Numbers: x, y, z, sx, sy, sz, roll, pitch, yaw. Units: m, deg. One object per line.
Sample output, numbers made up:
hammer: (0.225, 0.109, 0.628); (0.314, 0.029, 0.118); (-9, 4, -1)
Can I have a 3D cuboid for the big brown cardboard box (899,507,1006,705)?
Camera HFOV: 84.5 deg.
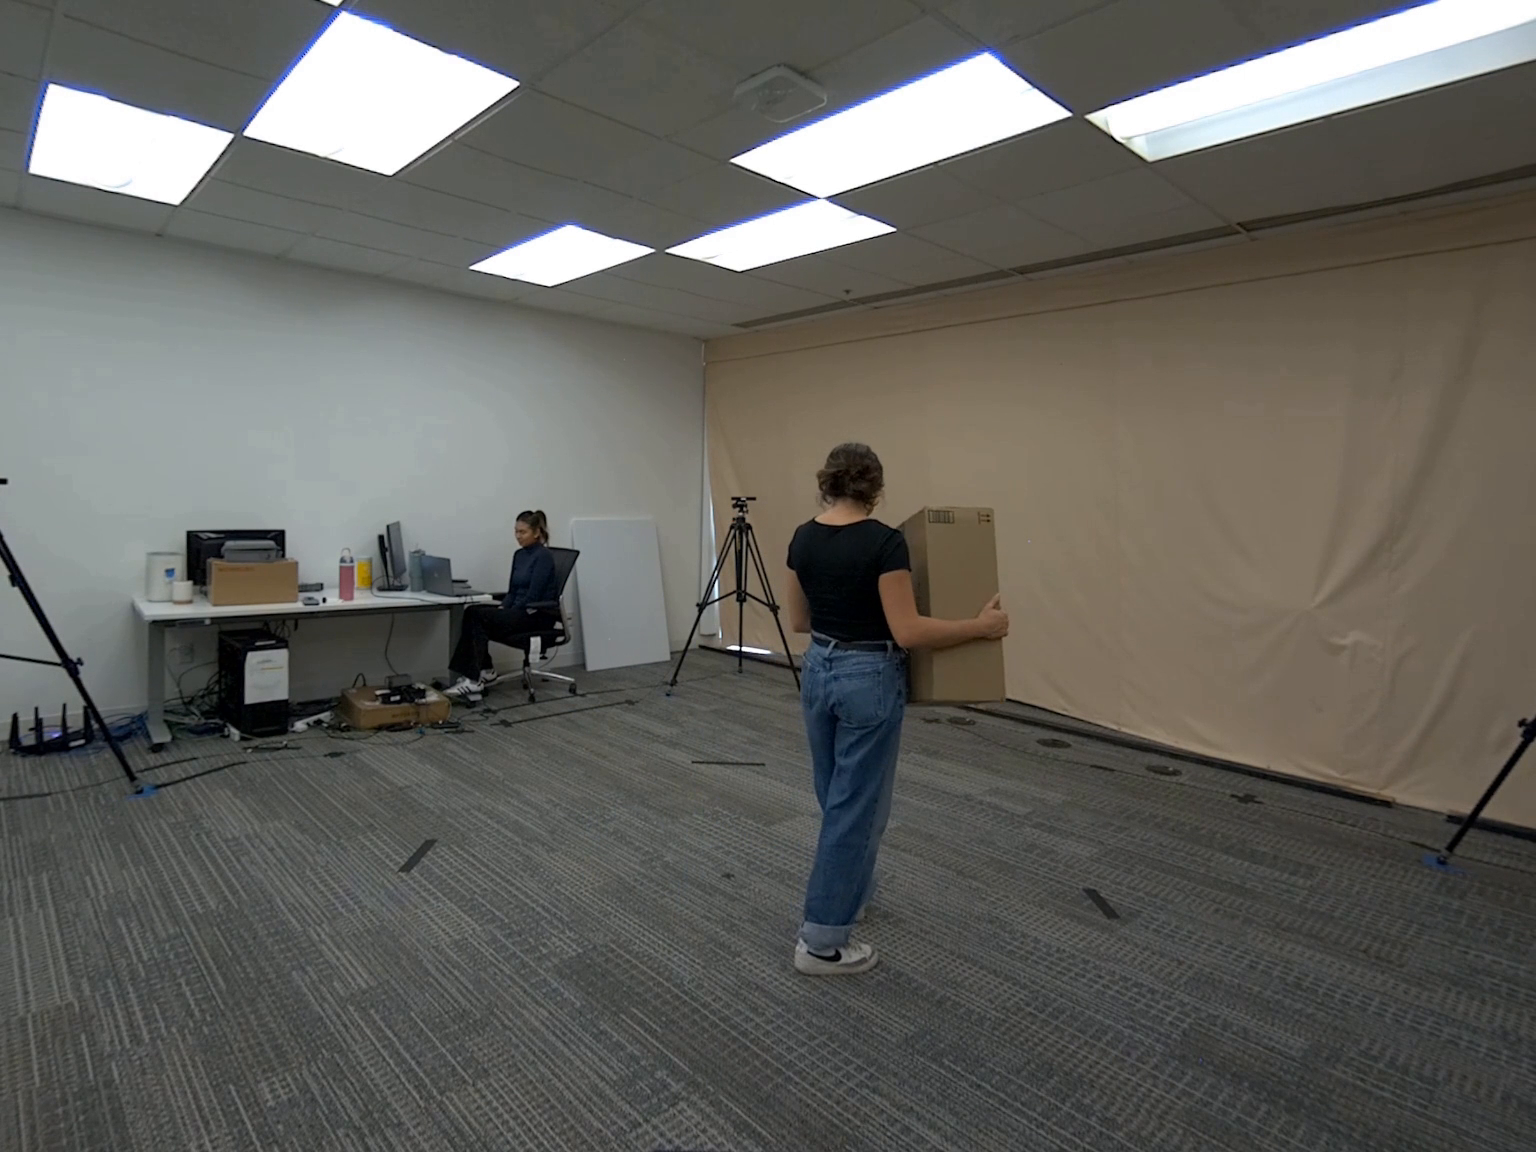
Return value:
big brown cardboard box: (0.527, 0.108, 2.619); (0.232, 0.594, 0.416); (3, -12, -8)
